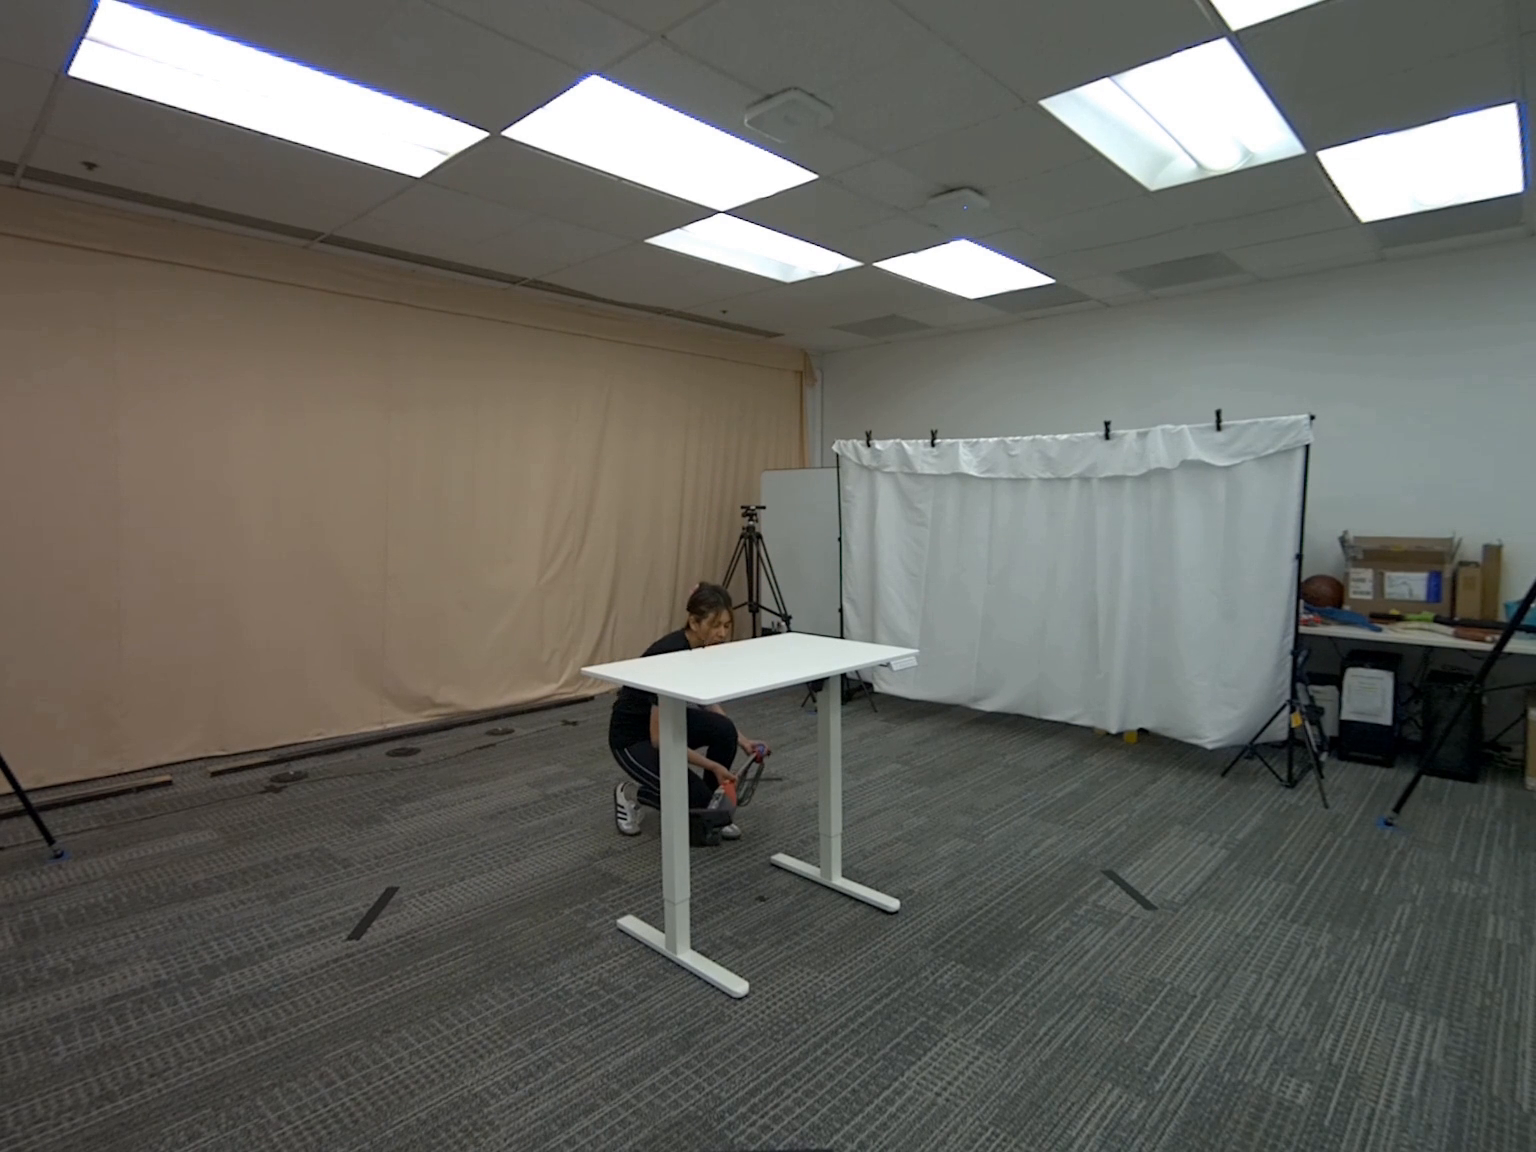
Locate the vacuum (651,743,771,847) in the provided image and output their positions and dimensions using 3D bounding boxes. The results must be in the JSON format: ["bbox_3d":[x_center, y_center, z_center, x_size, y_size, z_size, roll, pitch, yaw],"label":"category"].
[{"bbox_3d":[-0.104,0.839,3.363,0.256,0.144,1.031,-11,0,16],"label":"vacuum"}]
